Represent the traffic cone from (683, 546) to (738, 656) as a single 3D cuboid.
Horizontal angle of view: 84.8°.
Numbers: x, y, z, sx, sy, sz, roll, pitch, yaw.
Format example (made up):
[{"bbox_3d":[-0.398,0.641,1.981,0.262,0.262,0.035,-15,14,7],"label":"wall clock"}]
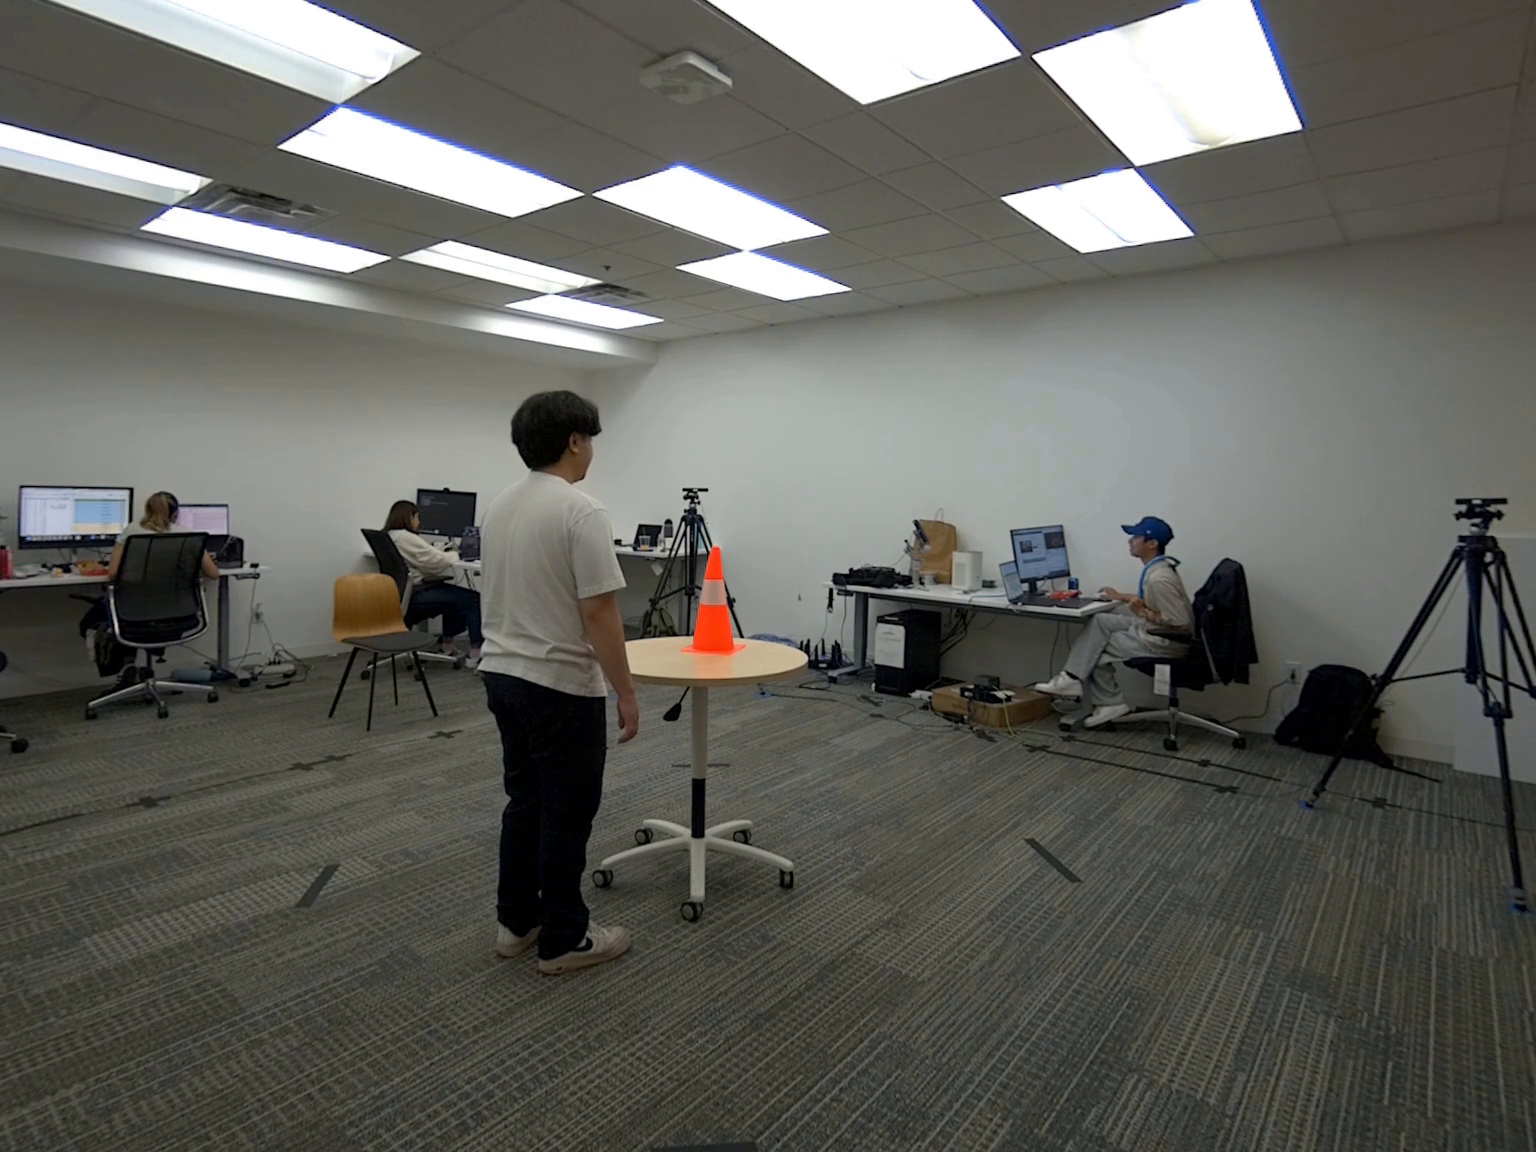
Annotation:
[{"bbox_3d":[-0.212,0.082,3.149,0.209,0.382,0.200,3,5,18],"label":"traffic cone"}]
